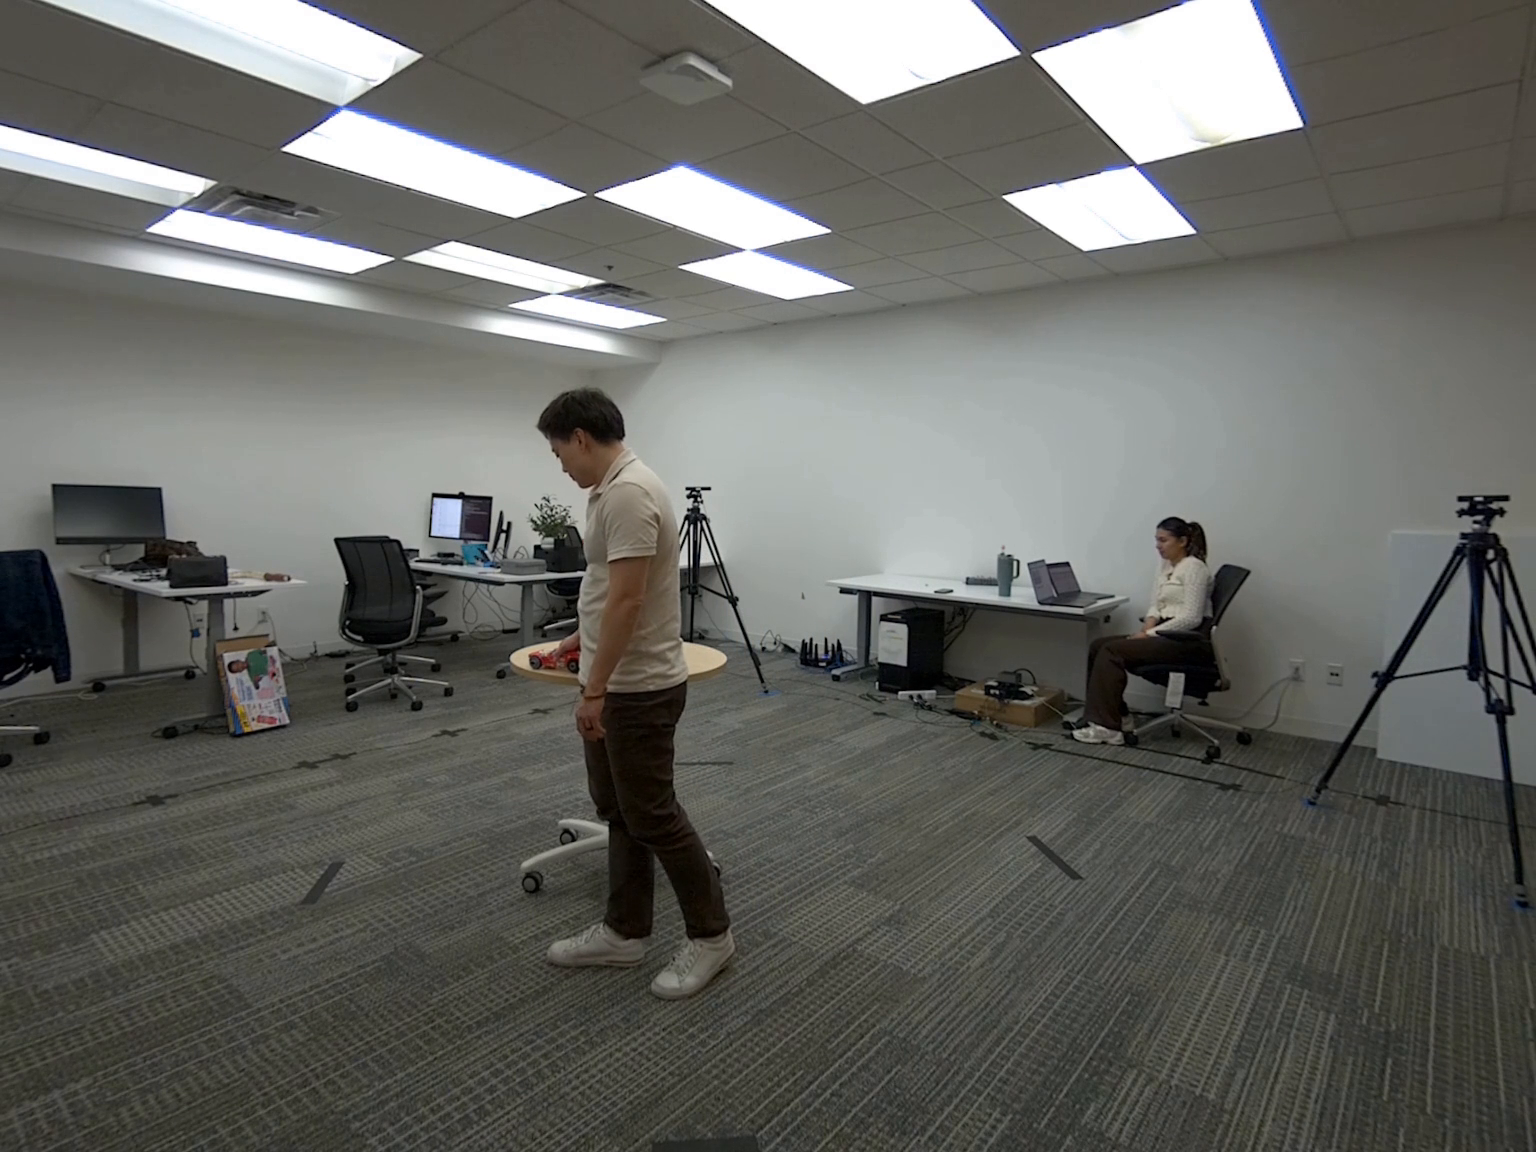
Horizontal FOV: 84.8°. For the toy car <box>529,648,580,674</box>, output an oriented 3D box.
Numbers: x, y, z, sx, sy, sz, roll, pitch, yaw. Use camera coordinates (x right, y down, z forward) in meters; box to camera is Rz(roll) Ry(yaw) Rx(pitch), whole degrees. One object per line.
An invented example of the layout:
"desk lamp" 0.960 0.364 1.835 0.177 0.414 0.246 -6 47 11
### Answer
"toy car" -0.670 0.274 2.792 0.258 0.083 0.128 -9 0 17
